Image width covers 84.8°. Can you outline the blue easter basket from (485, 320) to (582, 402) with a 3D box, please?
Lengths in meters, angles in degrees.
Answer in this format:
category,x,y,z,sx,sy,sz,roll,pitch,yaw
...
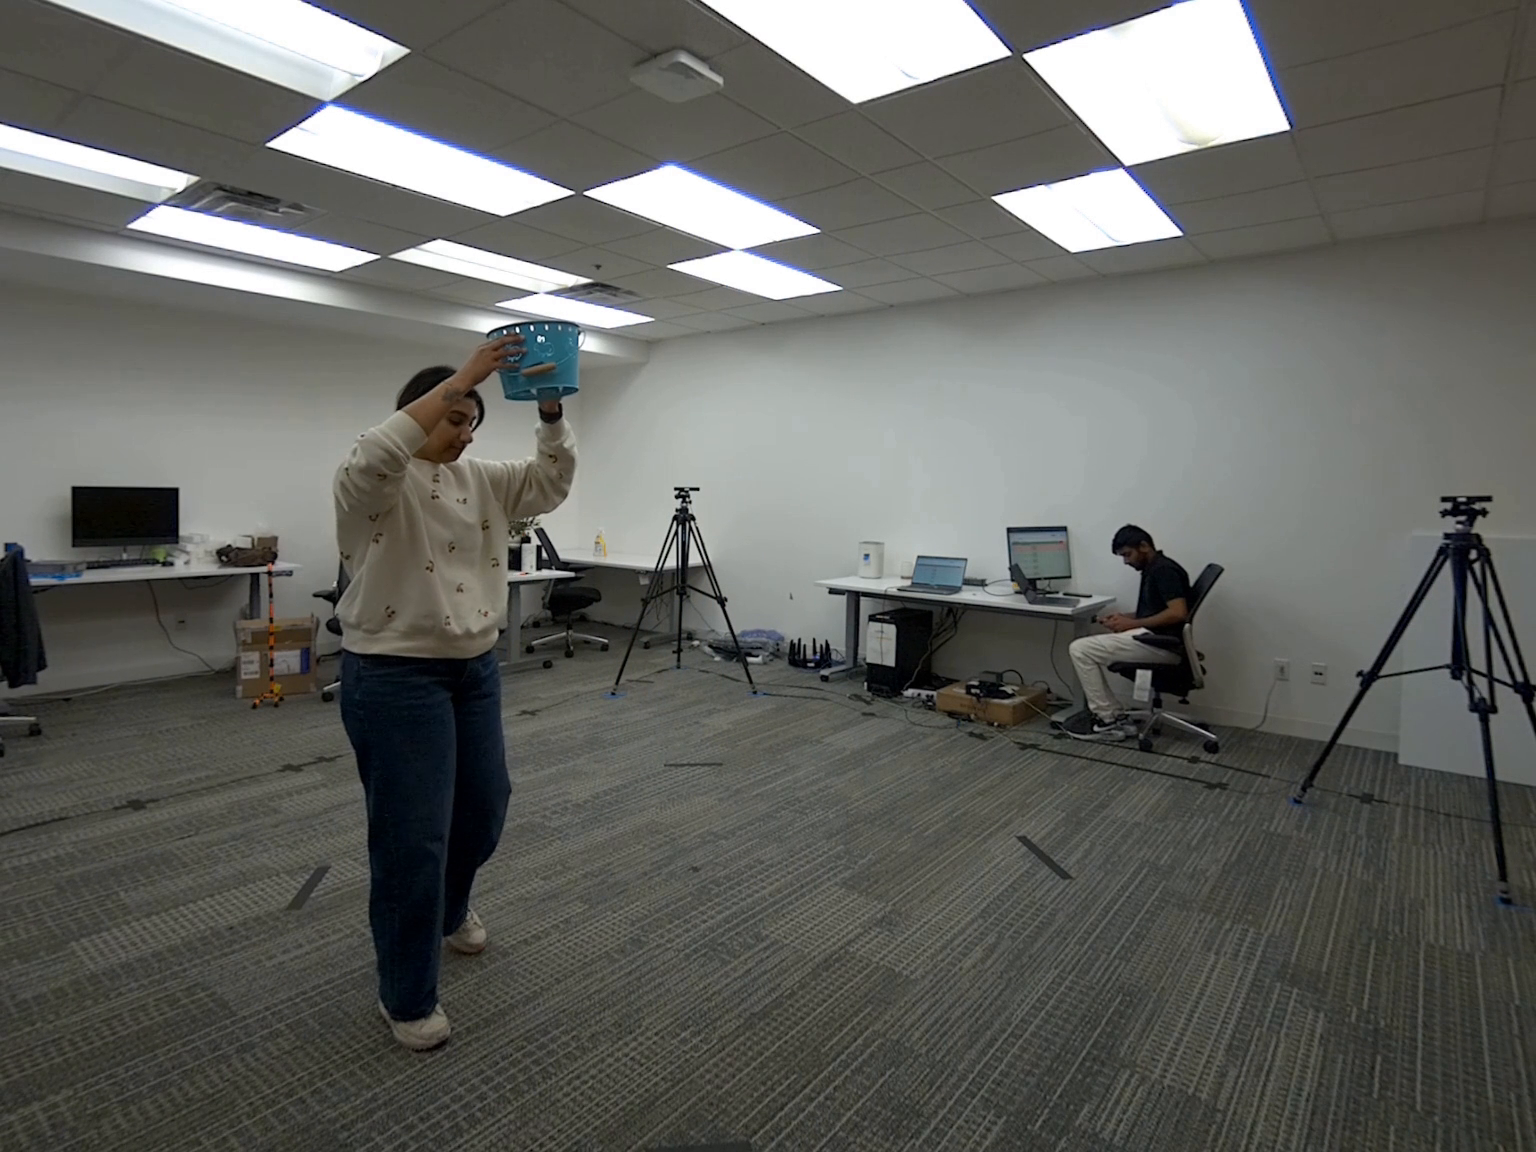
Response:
category,x,y,z,sx,sy,sz,roll,pitch,yaw
blue easter basket,-0.573,-0.521,2.069,0.243,0.155,0.244,-7,4,-1
